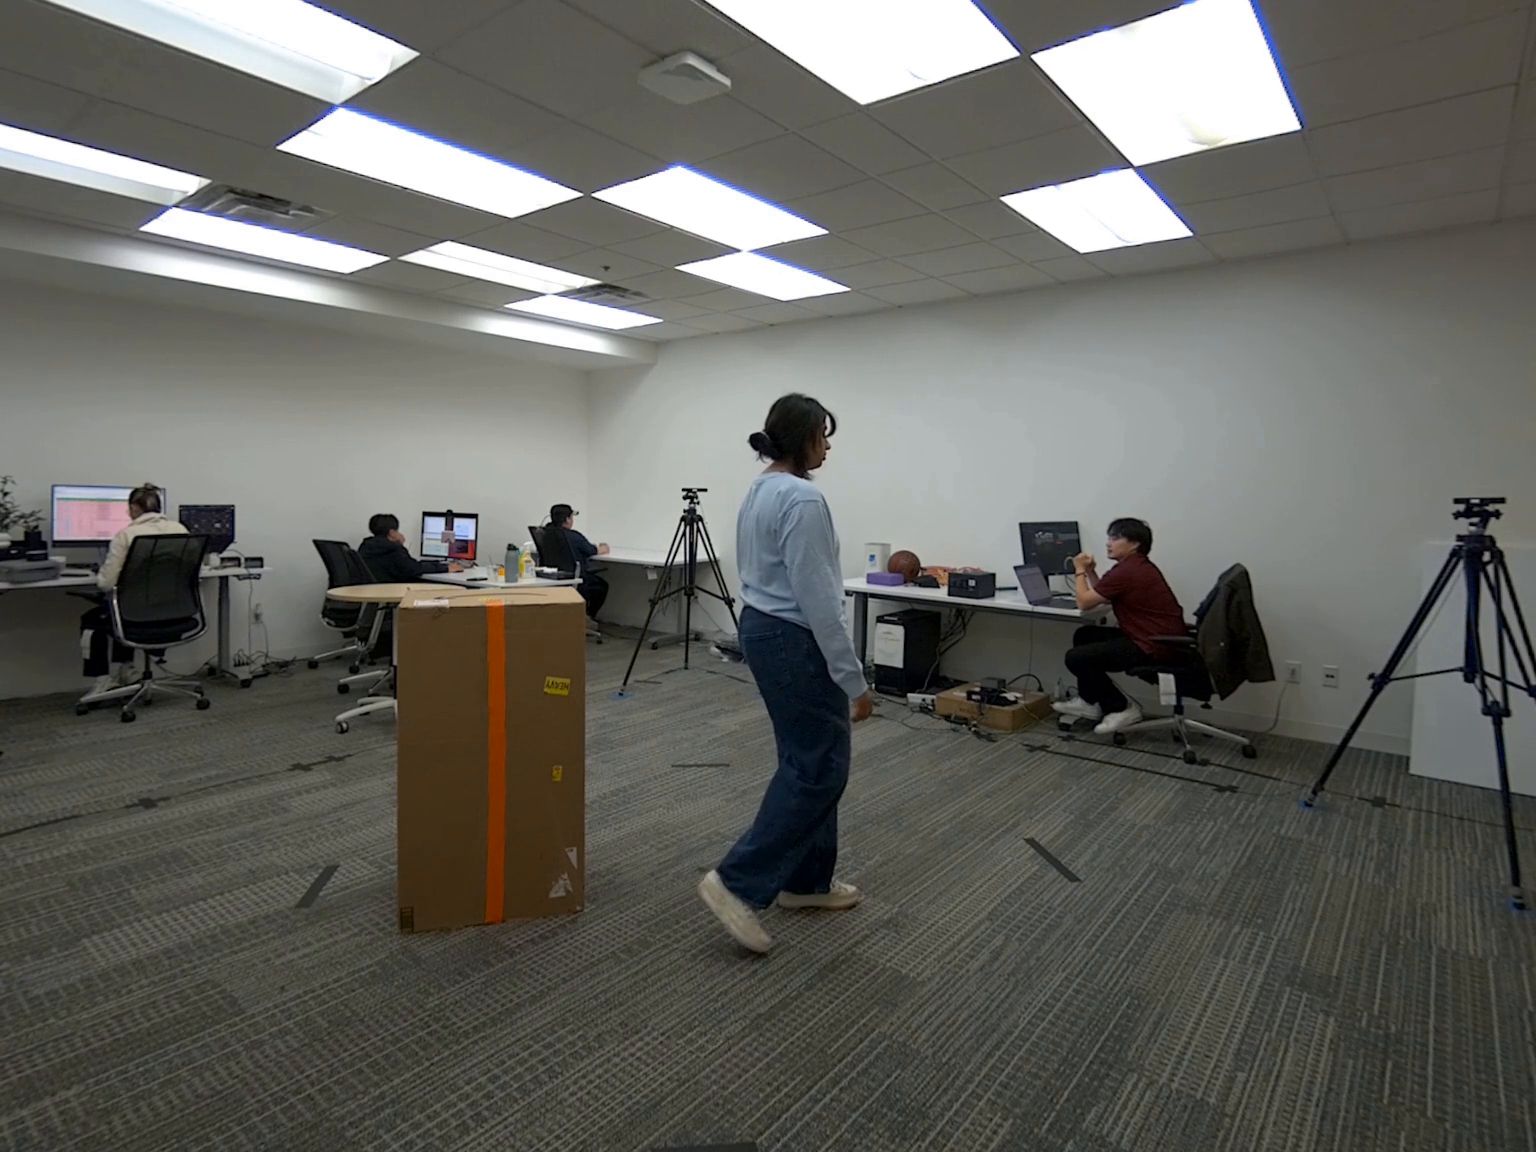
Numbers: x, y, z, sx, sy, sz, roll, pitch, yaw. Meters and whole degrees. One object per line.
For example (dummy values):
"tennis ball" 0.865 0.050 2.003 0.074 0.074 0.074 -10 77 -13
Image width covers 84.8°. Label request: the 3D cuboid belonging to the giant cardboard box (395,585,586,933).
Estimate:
"giant cardboard box" -0.944 0.573 2.873 0.574 1.023 0.456 -1 4 -16
